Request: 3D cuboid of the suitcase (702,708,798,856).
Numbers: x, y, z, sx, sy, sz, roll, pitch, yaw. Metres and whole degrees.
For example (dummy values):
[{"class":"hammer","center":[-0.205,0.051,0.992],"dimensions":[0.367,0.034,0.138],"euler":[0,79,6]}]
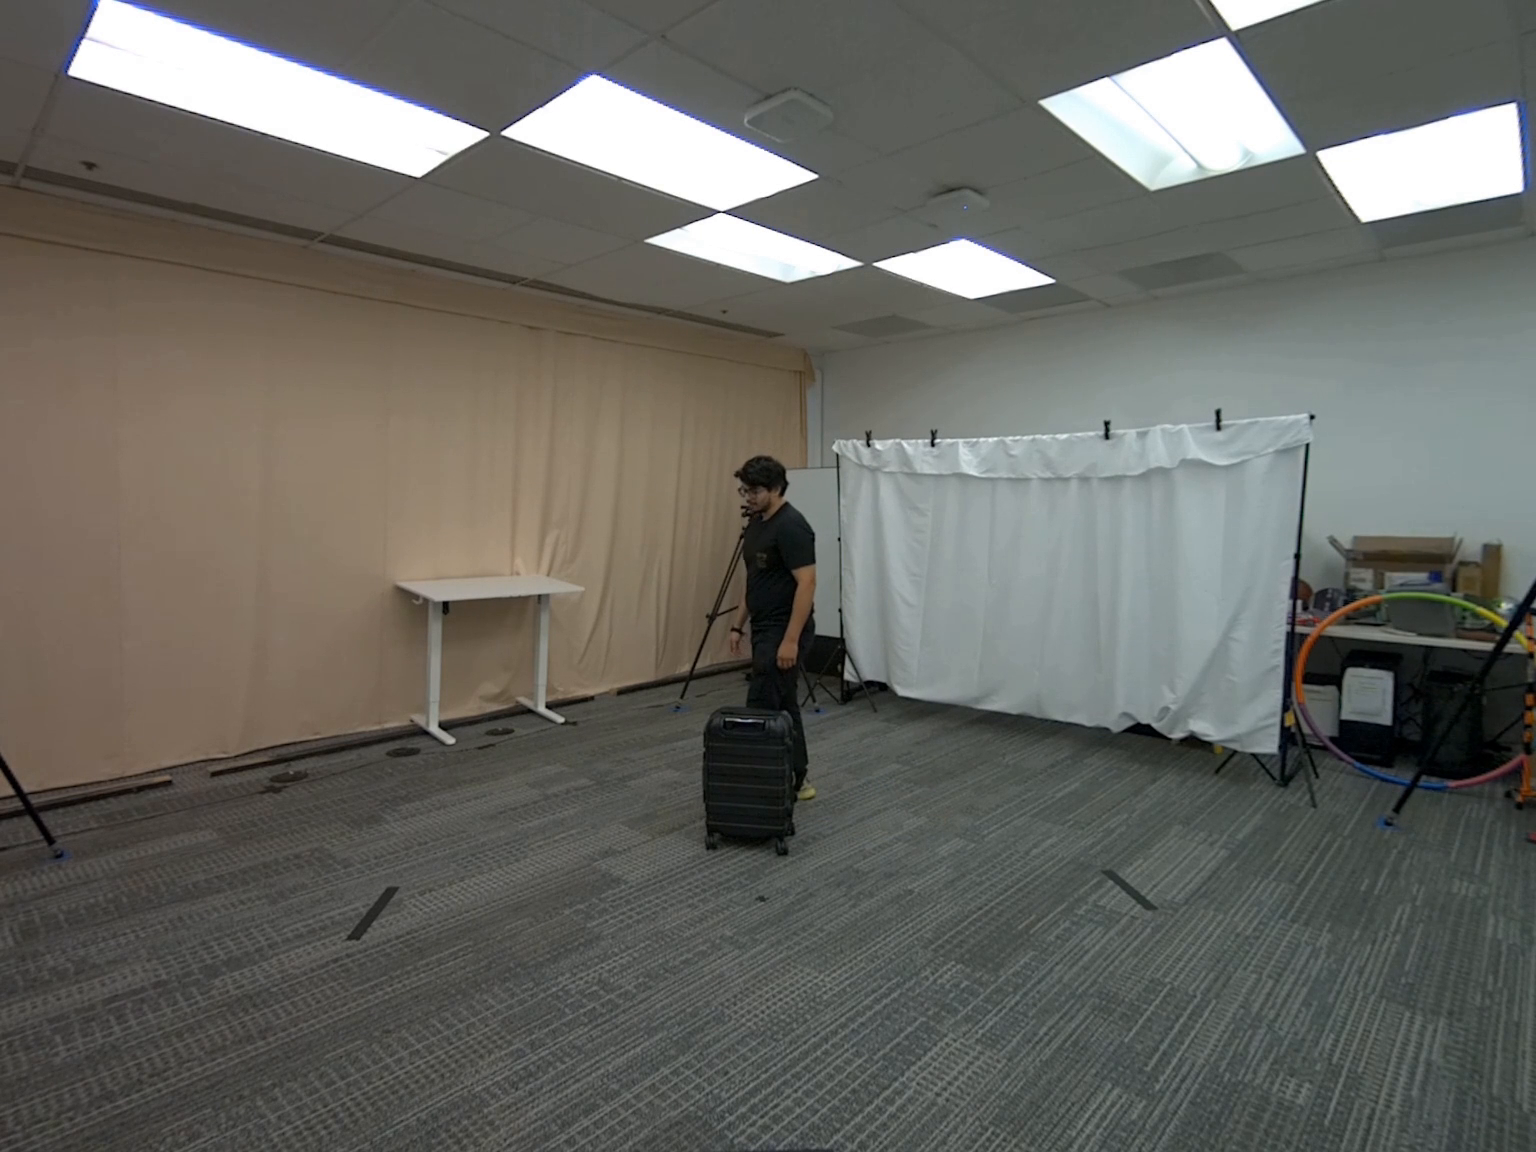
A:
[{"class":"suitcase","center":[-0.078,0.823,3.507],"dimensions":[0.380,0.549,0.245],"euler":[0,0,12]}]
